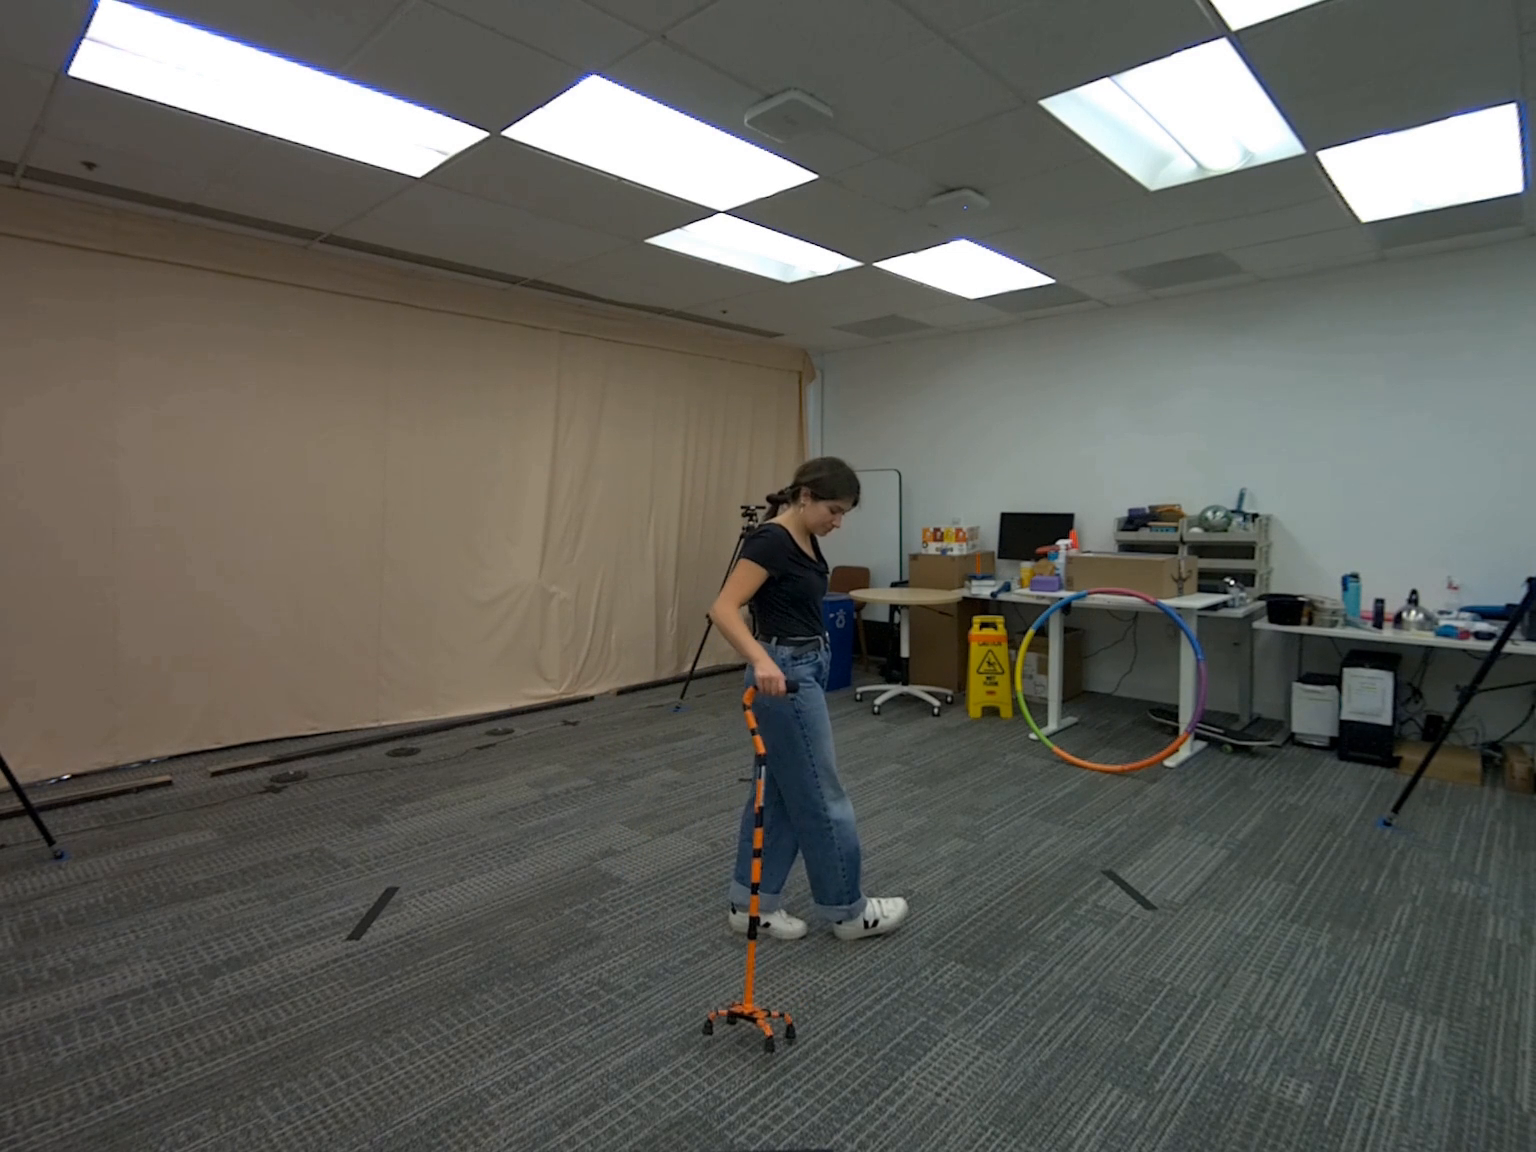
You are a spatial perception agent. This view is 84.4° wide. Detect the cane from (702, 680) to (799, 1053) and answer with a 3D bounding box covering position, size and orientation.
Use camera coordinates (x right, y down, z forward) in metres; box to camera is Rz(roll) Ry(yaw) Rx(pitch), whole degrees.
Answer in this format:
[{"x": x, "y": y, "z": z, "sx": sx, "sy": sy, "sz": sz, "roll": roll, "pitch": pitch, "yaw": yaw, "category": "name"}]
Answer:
[{"x": -0.010, "y": 0.744, "z": 2.268, "sx": 0.211, "sy": 0.913, "sz": 0.147, "roll": -1, "pitch": -12, "yaw": 24, "category": "cane"}]
